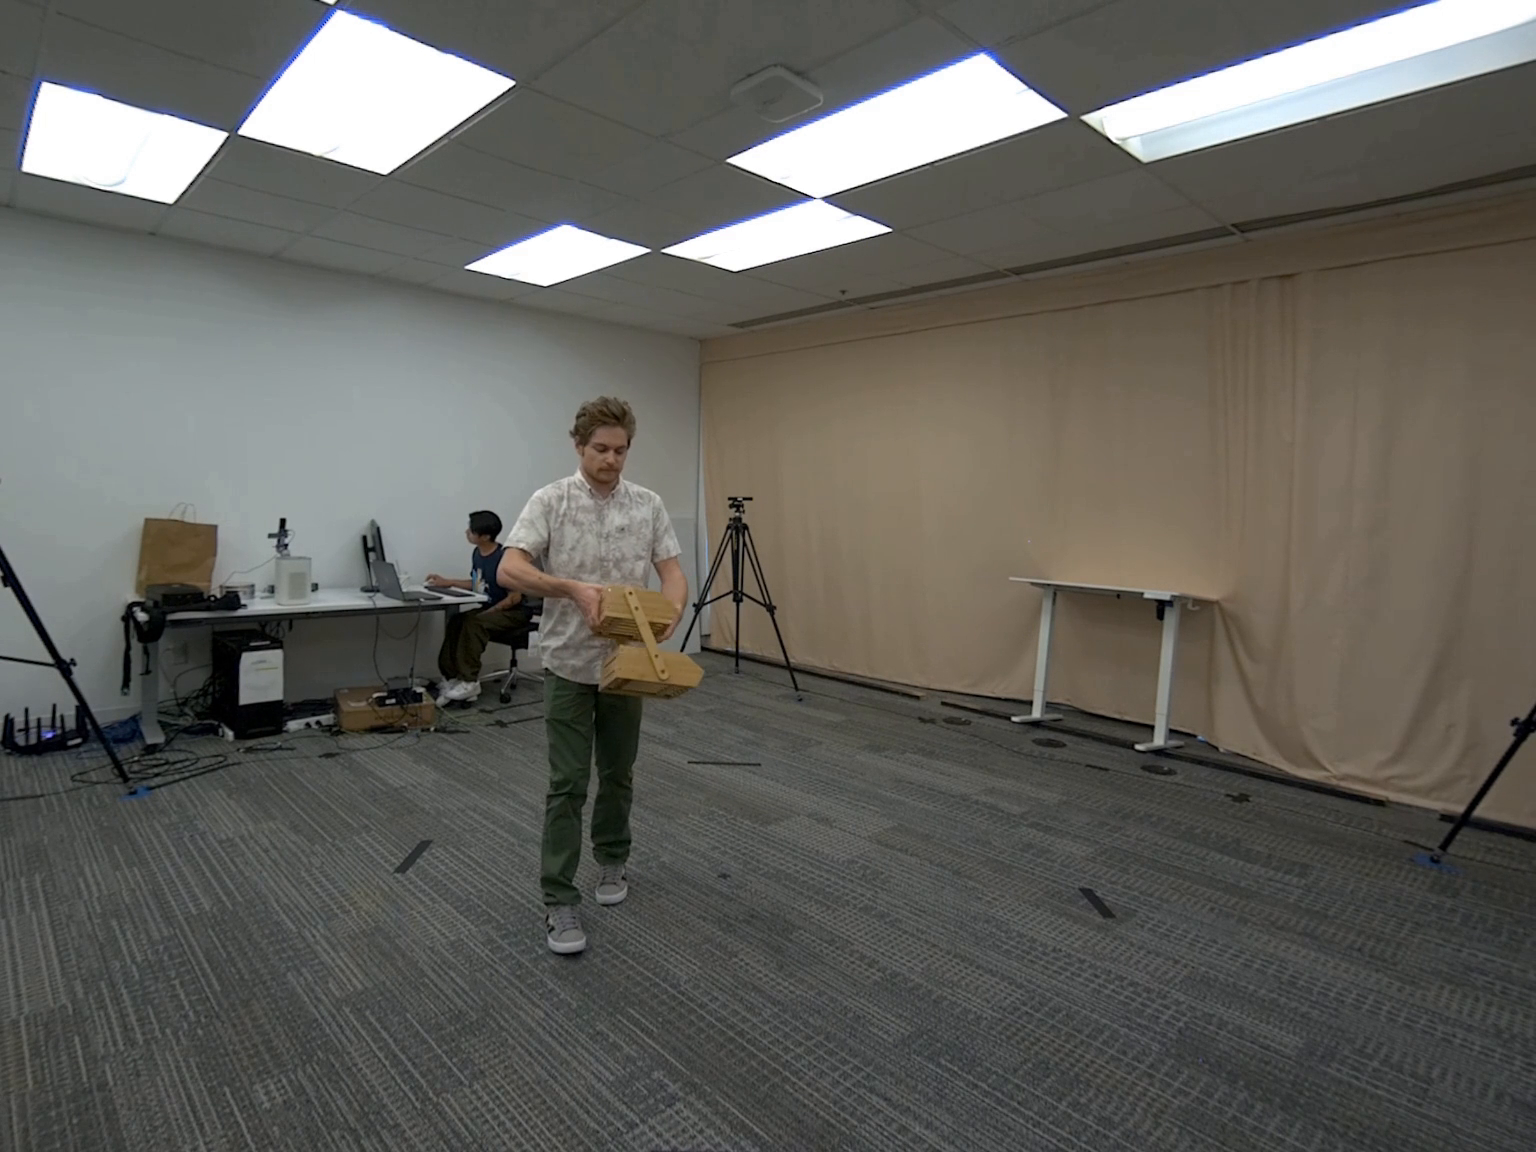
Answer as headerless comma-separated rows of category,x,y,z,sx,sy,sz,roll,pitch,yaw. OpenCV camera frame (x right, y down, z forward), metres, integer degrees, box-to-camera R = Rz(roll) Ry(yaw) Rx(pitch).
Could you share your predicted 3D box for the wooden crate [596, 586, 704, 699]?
wooden crate,-0.375,0.204,2.515,0.298,0.277,0.325,9,-19,-17
